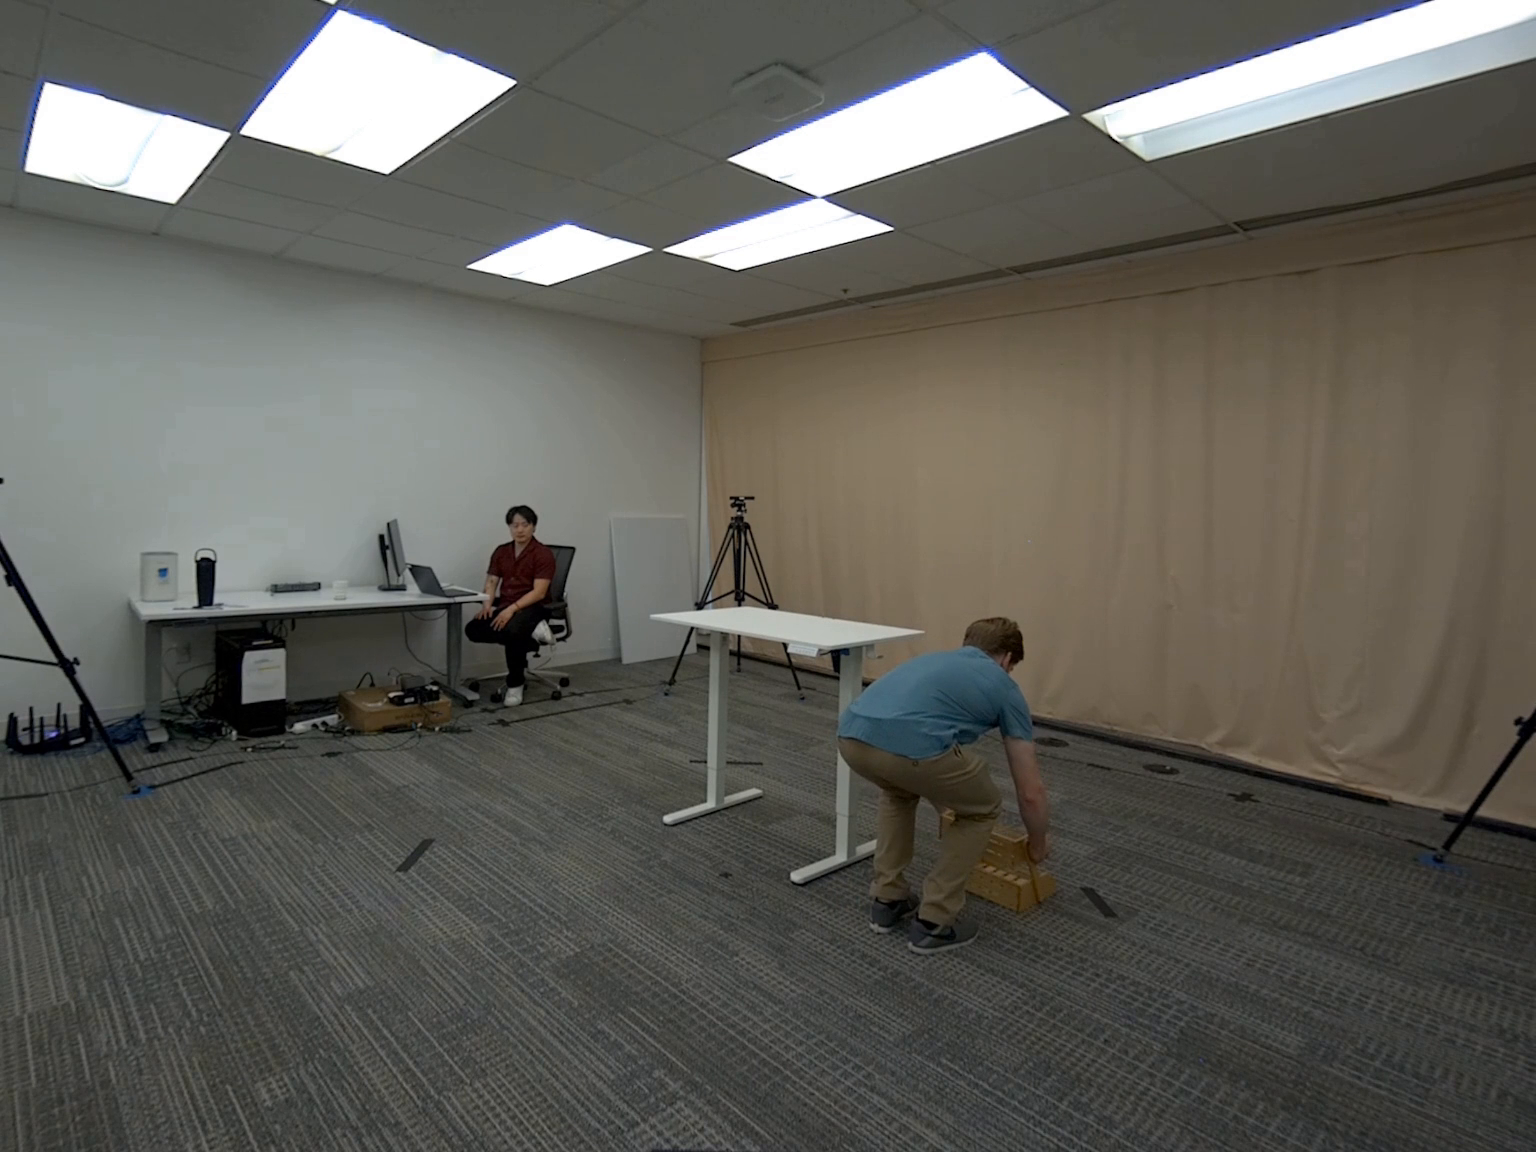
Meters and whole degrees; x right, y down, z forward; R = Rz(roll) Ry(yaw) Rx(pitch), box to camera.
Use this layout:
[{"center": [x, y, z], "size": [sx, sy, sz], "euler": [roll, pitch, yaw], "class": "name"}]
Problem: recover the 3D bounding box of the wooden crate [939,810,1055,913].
[{"center": [0.832, 0.997, 3.048], "size": [0.295, 0.273, 0.333], "euler": [-1, 5, -43], "class": "wooden crate"}]
